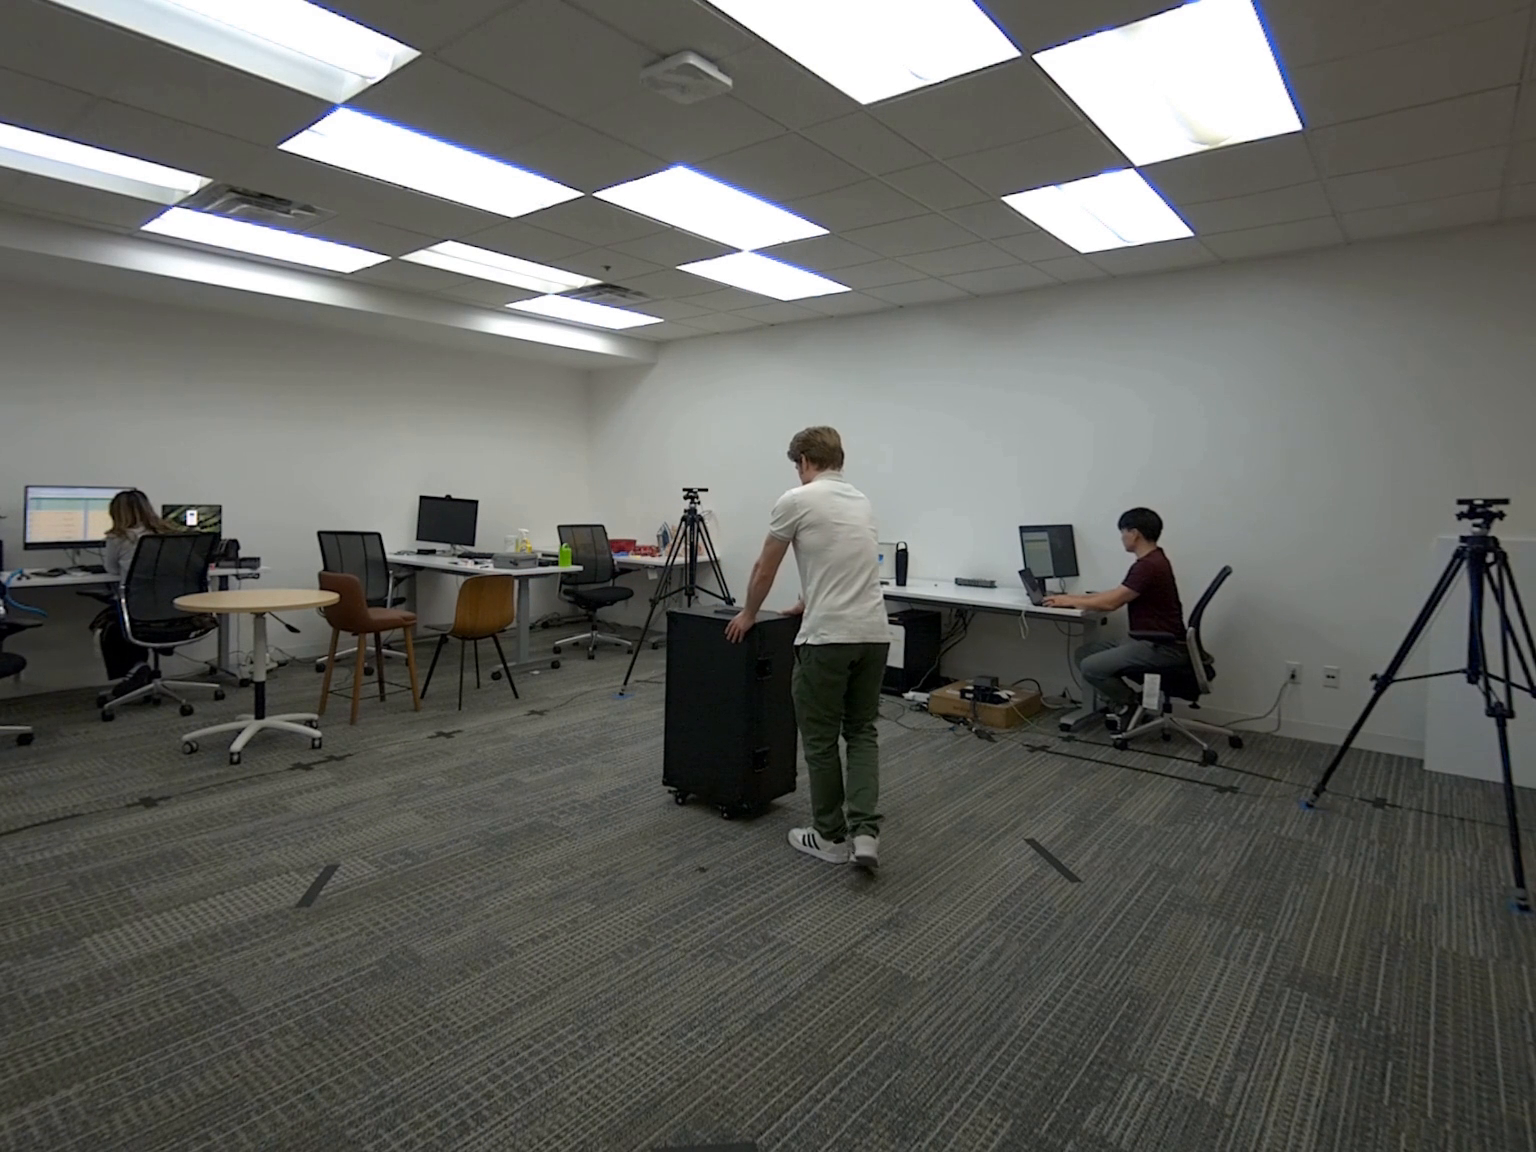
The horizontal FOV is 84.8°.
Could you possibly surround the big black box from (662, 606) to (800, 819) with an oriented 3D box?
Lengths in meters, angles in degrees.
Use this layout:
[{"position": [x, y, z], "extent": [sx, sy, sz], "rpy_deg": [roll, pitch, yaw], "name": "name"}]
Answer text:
[{"position": [-0.180, 0.584, 3.764], "extent": [0.541, 0.866, 0.374], "rpy_deg": [4, 3, 37], "name": "big black box"}]
